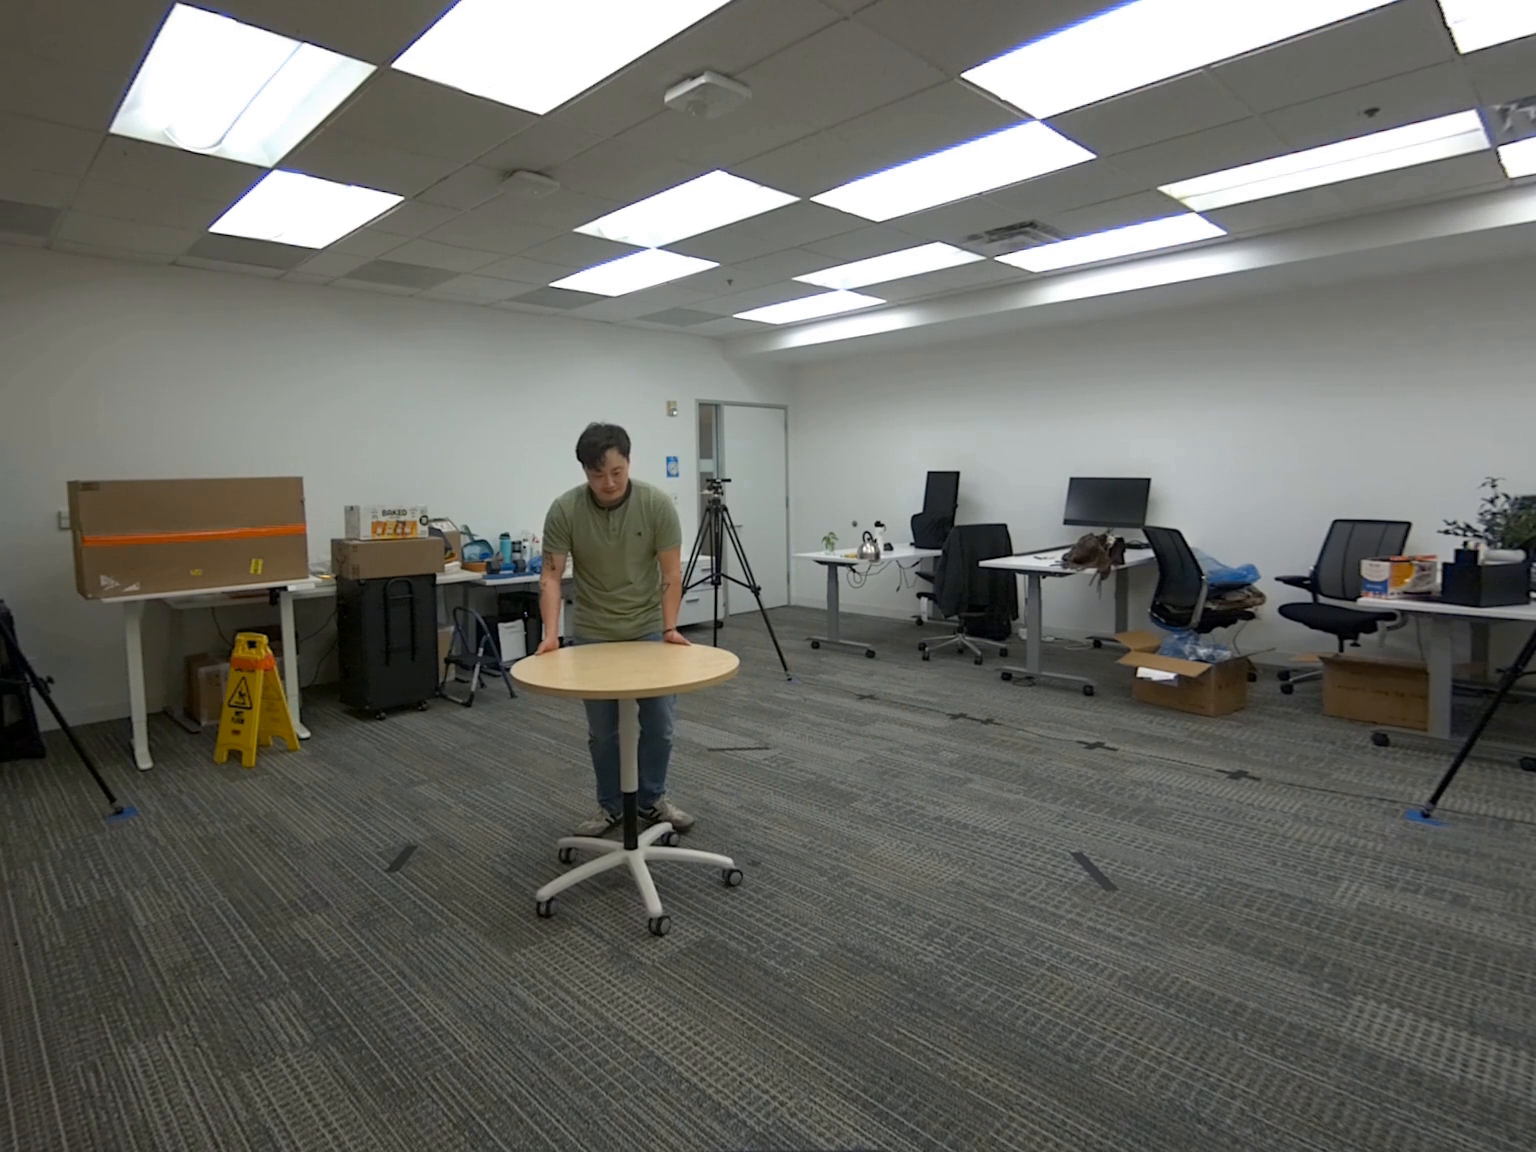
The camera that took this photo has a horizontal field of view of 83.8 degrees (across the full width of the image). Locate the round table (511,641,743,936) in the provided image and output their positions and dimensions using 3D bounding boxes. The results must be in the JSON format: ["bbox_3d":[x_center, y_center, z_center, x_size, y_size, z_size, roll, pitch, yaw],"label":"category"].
[{"bbox_3d":[-0.471,0.689,2.908,0.763,0.791,0.768,-1,5,-2],"label":"round table"}]
